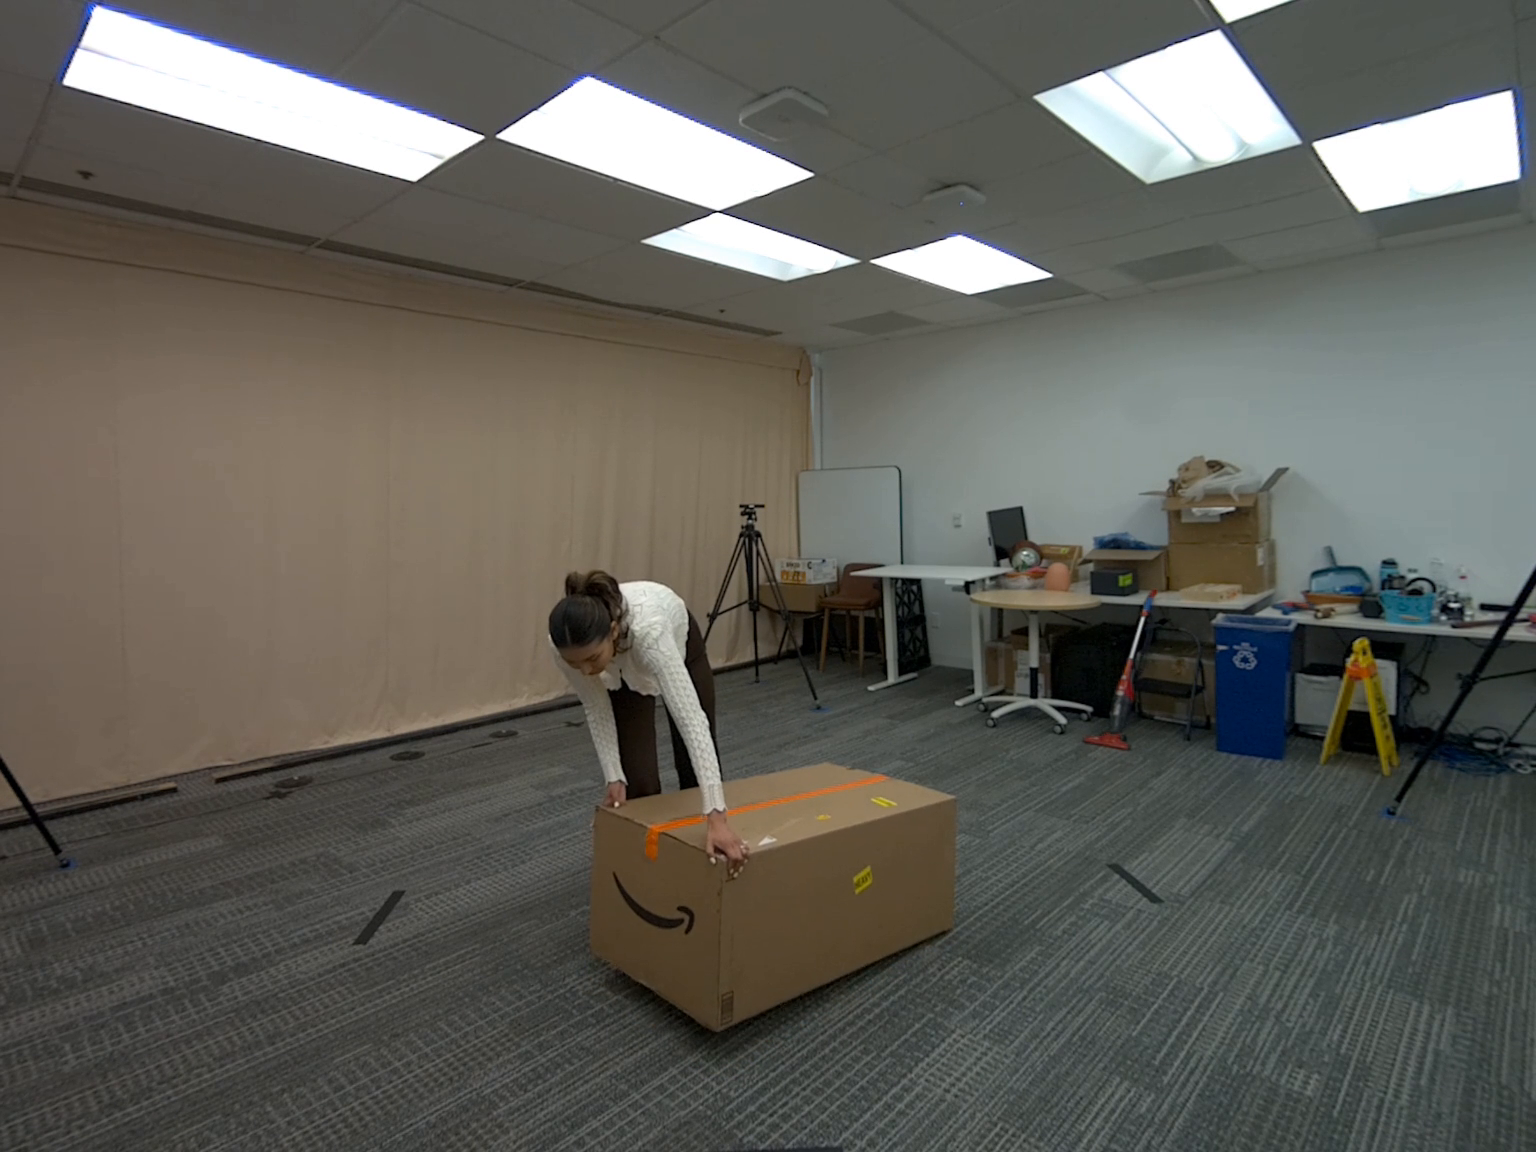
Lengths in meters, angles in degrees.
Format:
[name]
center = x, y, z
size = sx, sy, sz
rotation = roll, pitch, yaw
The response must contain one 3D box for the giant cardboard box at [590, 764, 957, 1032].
[giant cardboard box]
center = 0.053, 0.911, 2.611
size = 0.992, 0.426, 0.596
rotation = 2, 0, -43
